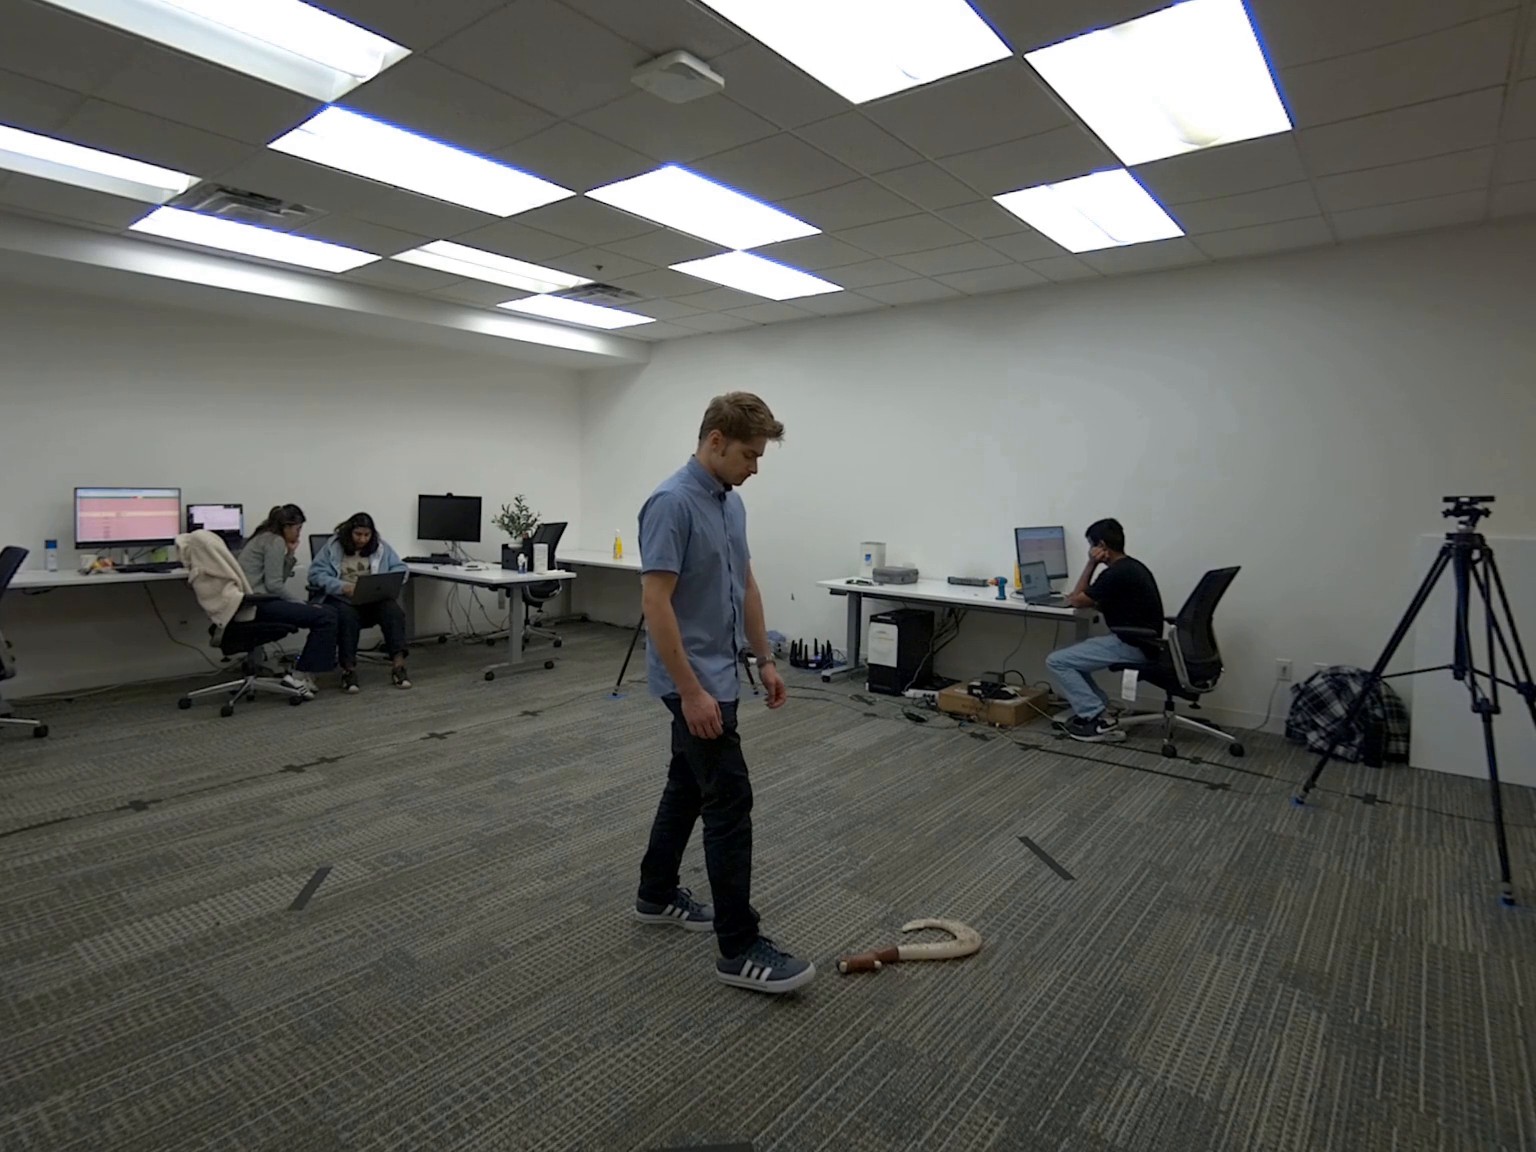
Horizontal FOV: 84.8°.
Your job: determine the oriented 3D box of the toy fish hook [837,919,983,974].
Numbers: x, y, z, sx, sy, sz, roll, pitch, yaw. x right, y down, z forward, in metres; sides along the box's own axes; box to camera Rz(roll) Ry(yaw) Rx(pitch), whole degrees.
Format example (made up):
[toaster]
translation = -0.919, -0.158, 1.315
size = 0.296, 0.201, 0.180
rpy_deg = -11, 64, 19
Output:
[toy fish hook]
translation = 0.407, 1.120, 2.585
size = 0.495, 0.048, 0.229
rpy_deg = 0, -2, -22
